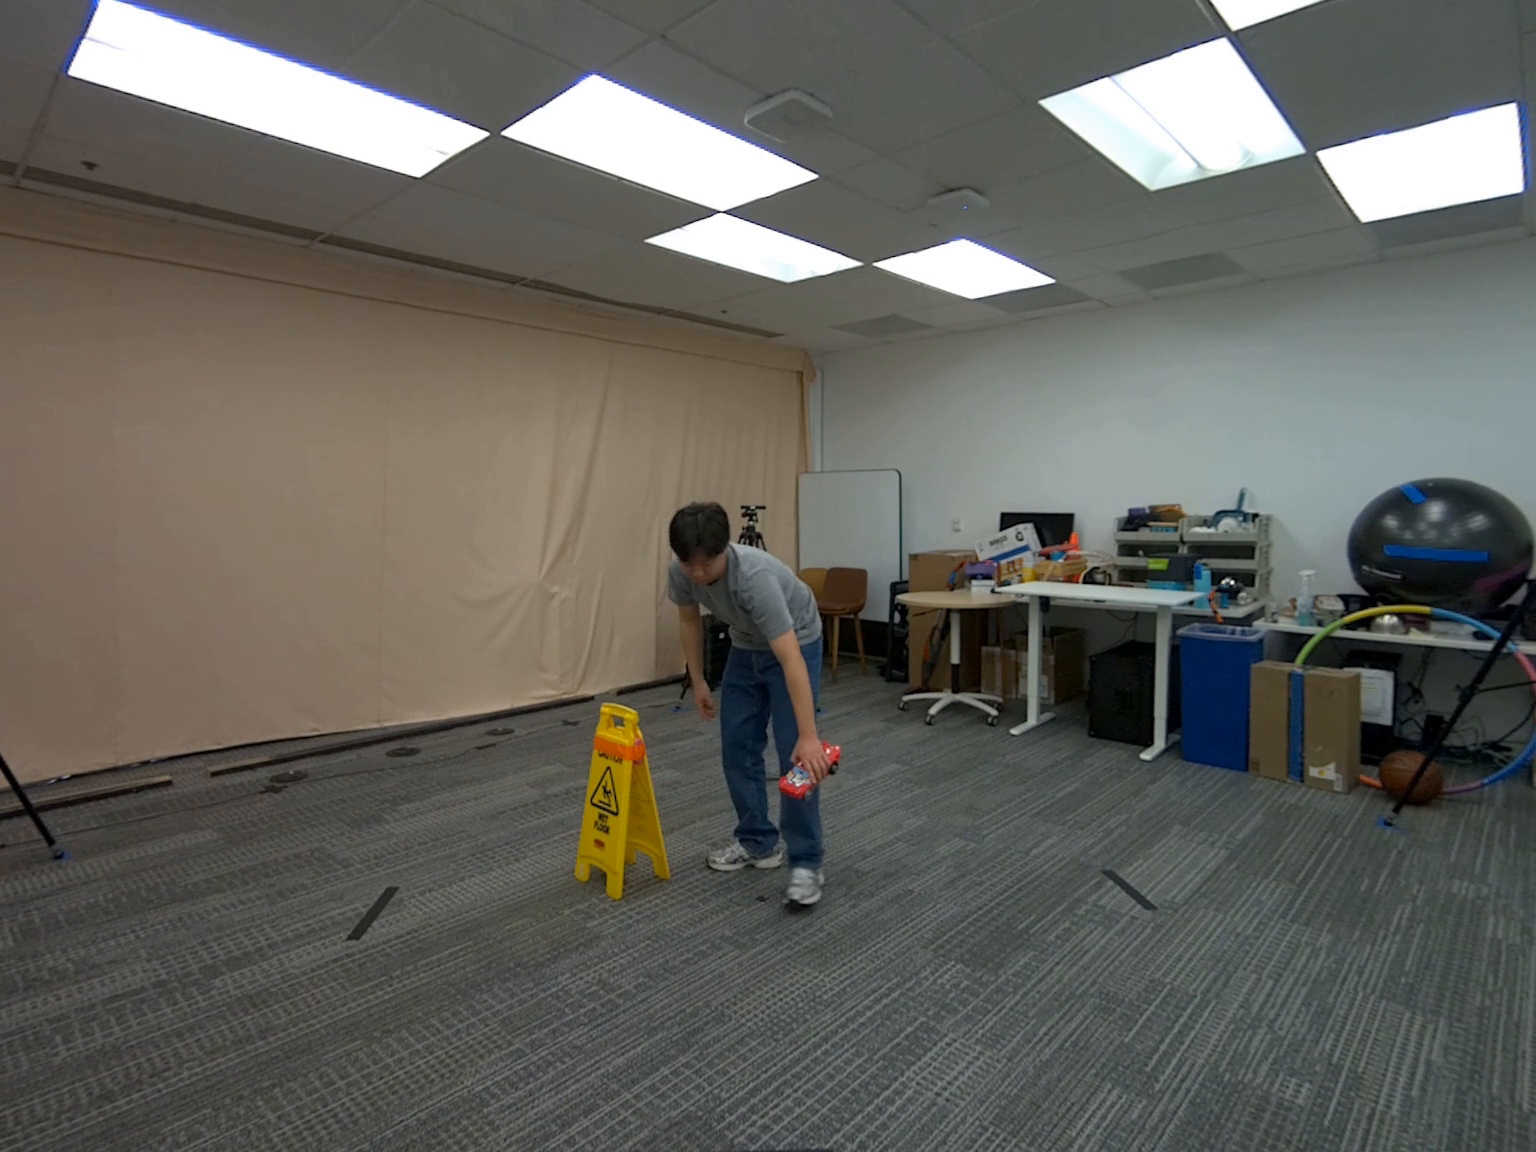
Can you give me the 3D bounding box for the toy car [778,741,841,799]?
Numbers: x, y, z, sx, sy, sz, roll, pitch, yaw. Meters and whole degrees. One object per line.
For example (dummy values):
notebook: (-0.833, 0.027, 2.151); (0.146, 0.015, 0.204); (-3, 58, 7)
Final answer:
toy car: (0.142, 0.660, 2.820); (0.135, 0.081, 0.252); (11, 46, 43)
